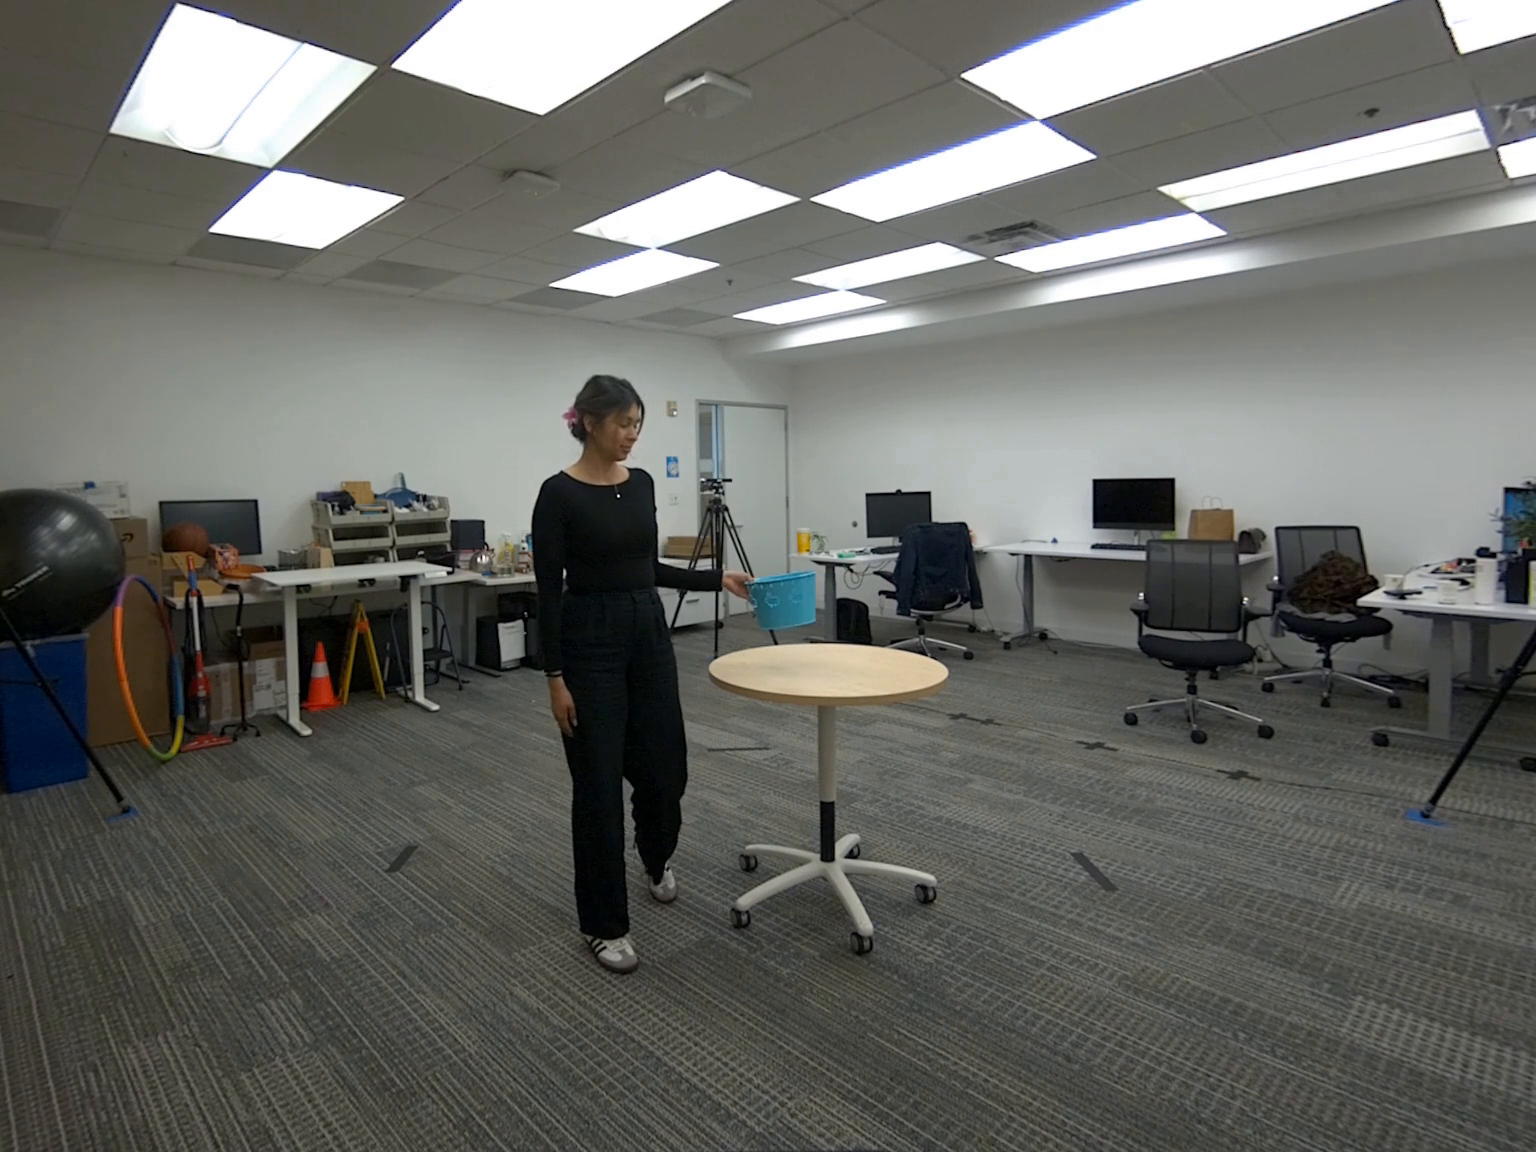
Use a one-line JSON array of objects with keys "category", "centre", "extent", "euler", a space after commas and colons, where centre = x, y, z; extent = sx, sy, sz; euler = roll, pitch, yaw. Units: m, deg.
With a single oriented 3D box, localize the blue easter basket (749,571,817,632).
[{"category": "blue easter basket", "centre": [0.042, 0.079, 2.713], "extent": [0.243, 0.155, 0.244], "euler": [-6, 3, -1]}]
